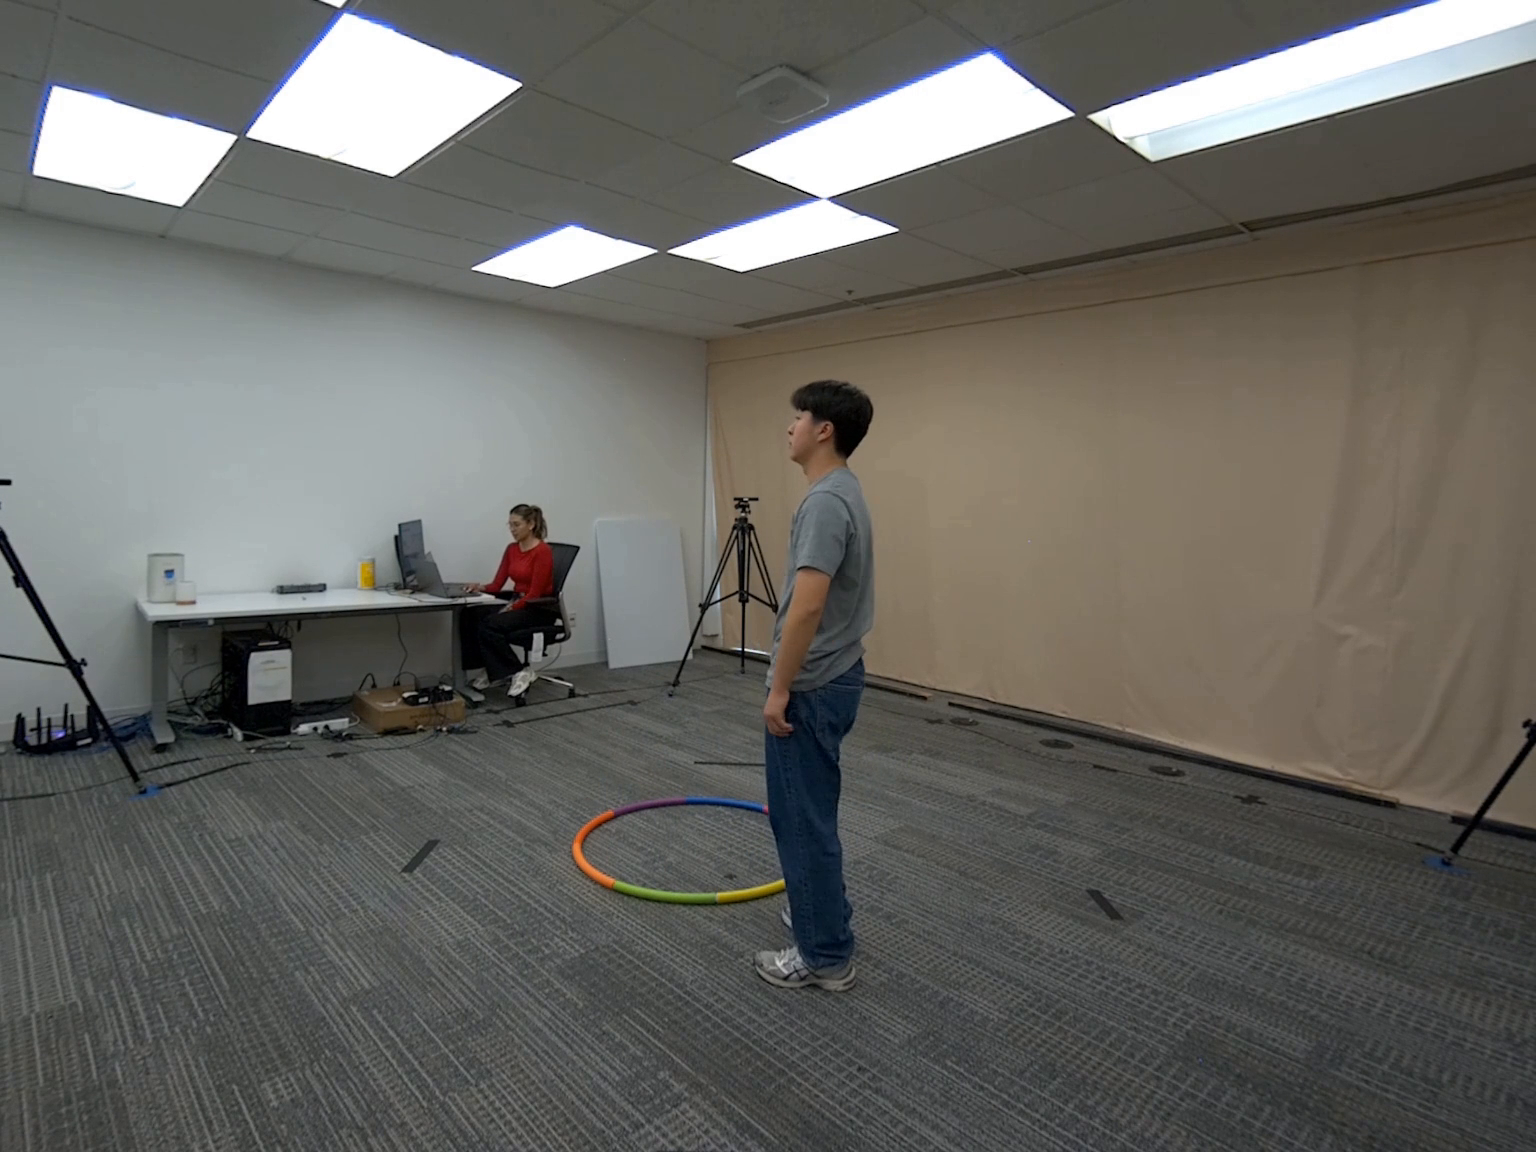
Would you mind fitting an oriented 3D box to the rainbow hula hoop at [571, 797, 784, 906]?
[{"bbox_3d":[-0.289,1.050,3.366,0.978,0.035,0.982,2,5,-1],"label":"rainbow hula hoop"}]
